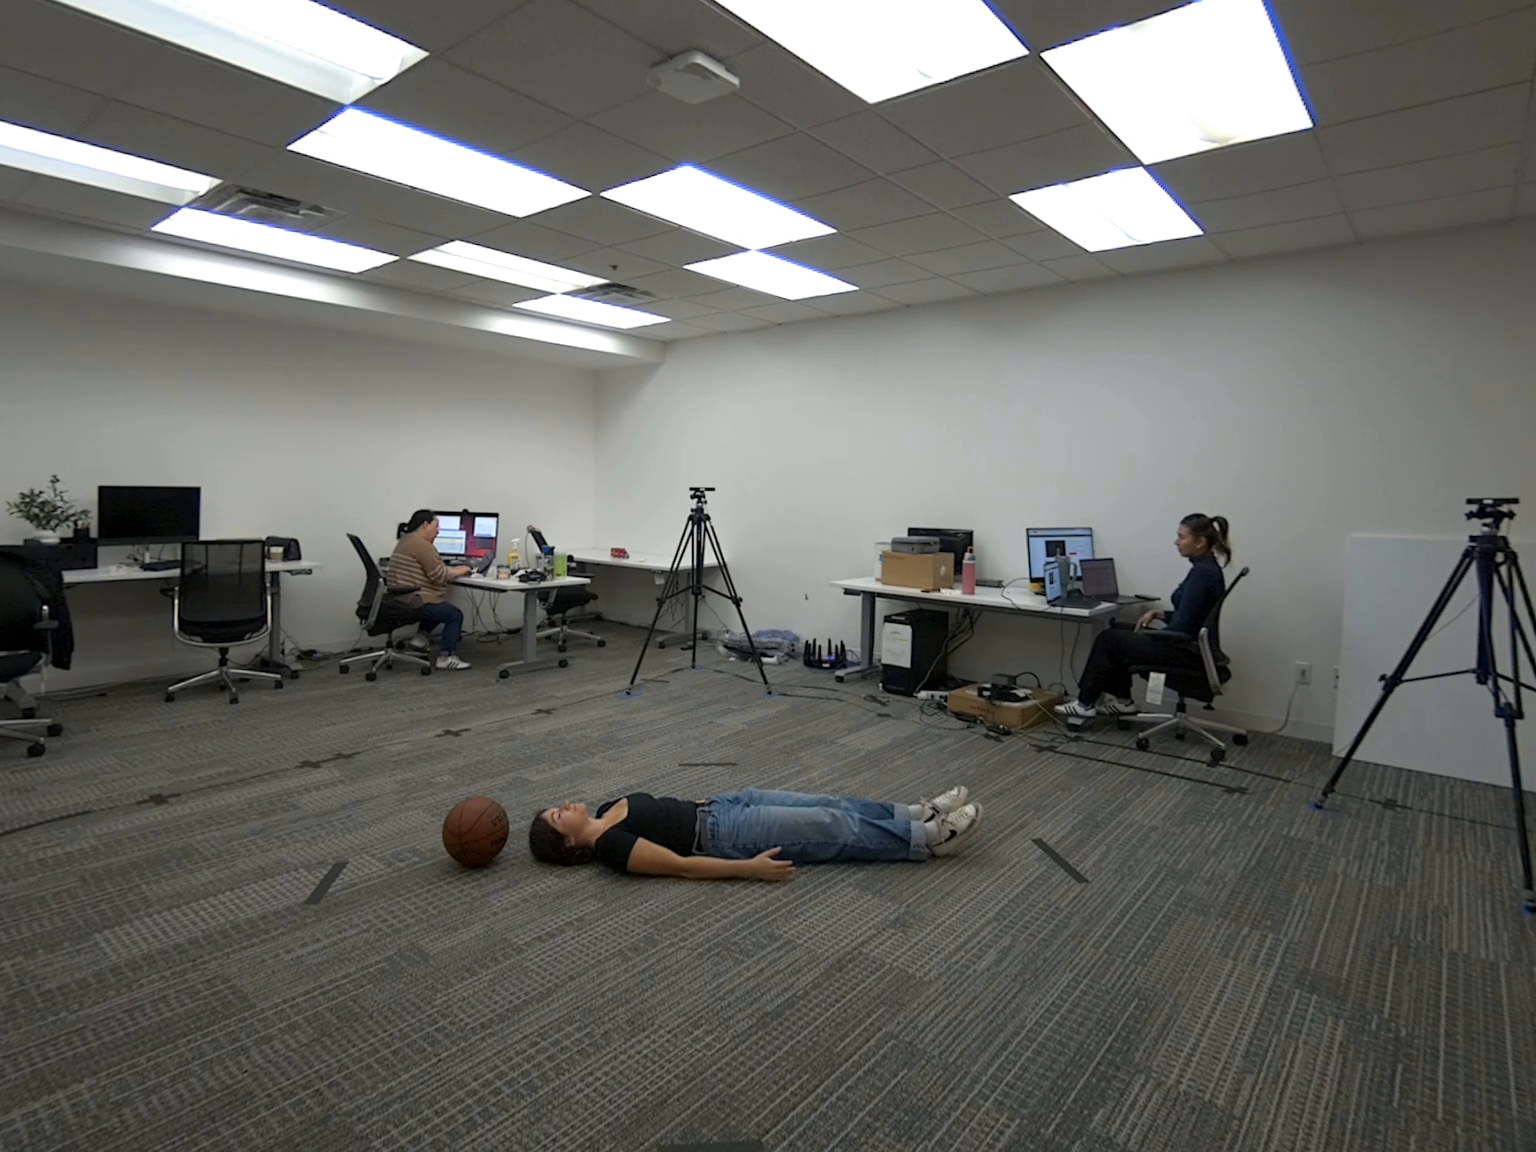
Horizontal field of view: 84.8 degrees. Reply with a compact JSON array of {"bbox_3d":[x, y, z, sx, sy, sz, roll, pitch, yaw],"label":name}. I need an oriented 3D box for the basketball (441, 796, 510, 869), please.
[{"bbox_3d":[-1.091,0.934,3.120,0.235,0.235,0.237,1,4,-2],"label":"basketball"}]
